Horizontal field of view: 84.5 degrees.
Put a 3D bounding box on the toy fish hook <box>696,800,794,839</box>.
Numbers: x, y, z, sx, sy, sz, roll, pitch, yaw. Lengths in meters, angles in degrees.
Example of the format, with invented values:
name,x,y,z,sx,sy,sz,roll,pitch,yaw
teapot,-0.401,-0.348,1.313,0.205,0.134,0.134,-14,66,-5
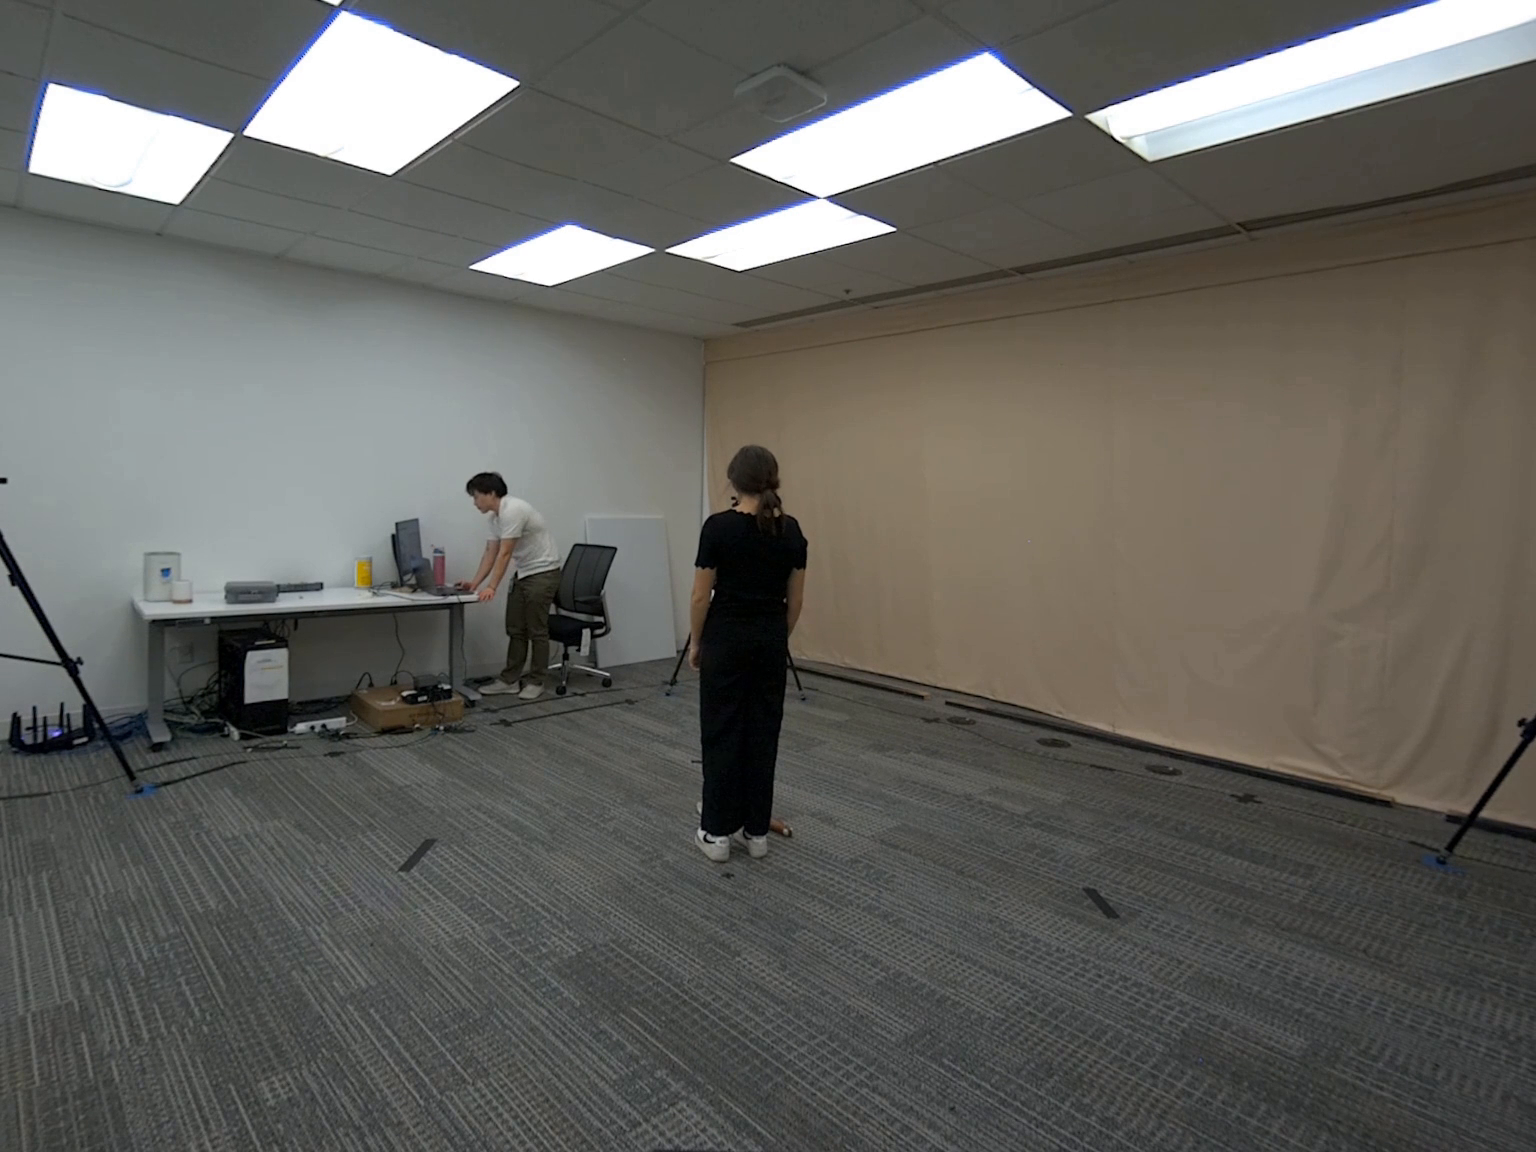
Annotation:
name,x,y,z,sx,sy,sz,roll,pitch,yaw
toy fish hook,-0.120,1.049,3.627,0.220,0.048,0.519,-14,13,-39
